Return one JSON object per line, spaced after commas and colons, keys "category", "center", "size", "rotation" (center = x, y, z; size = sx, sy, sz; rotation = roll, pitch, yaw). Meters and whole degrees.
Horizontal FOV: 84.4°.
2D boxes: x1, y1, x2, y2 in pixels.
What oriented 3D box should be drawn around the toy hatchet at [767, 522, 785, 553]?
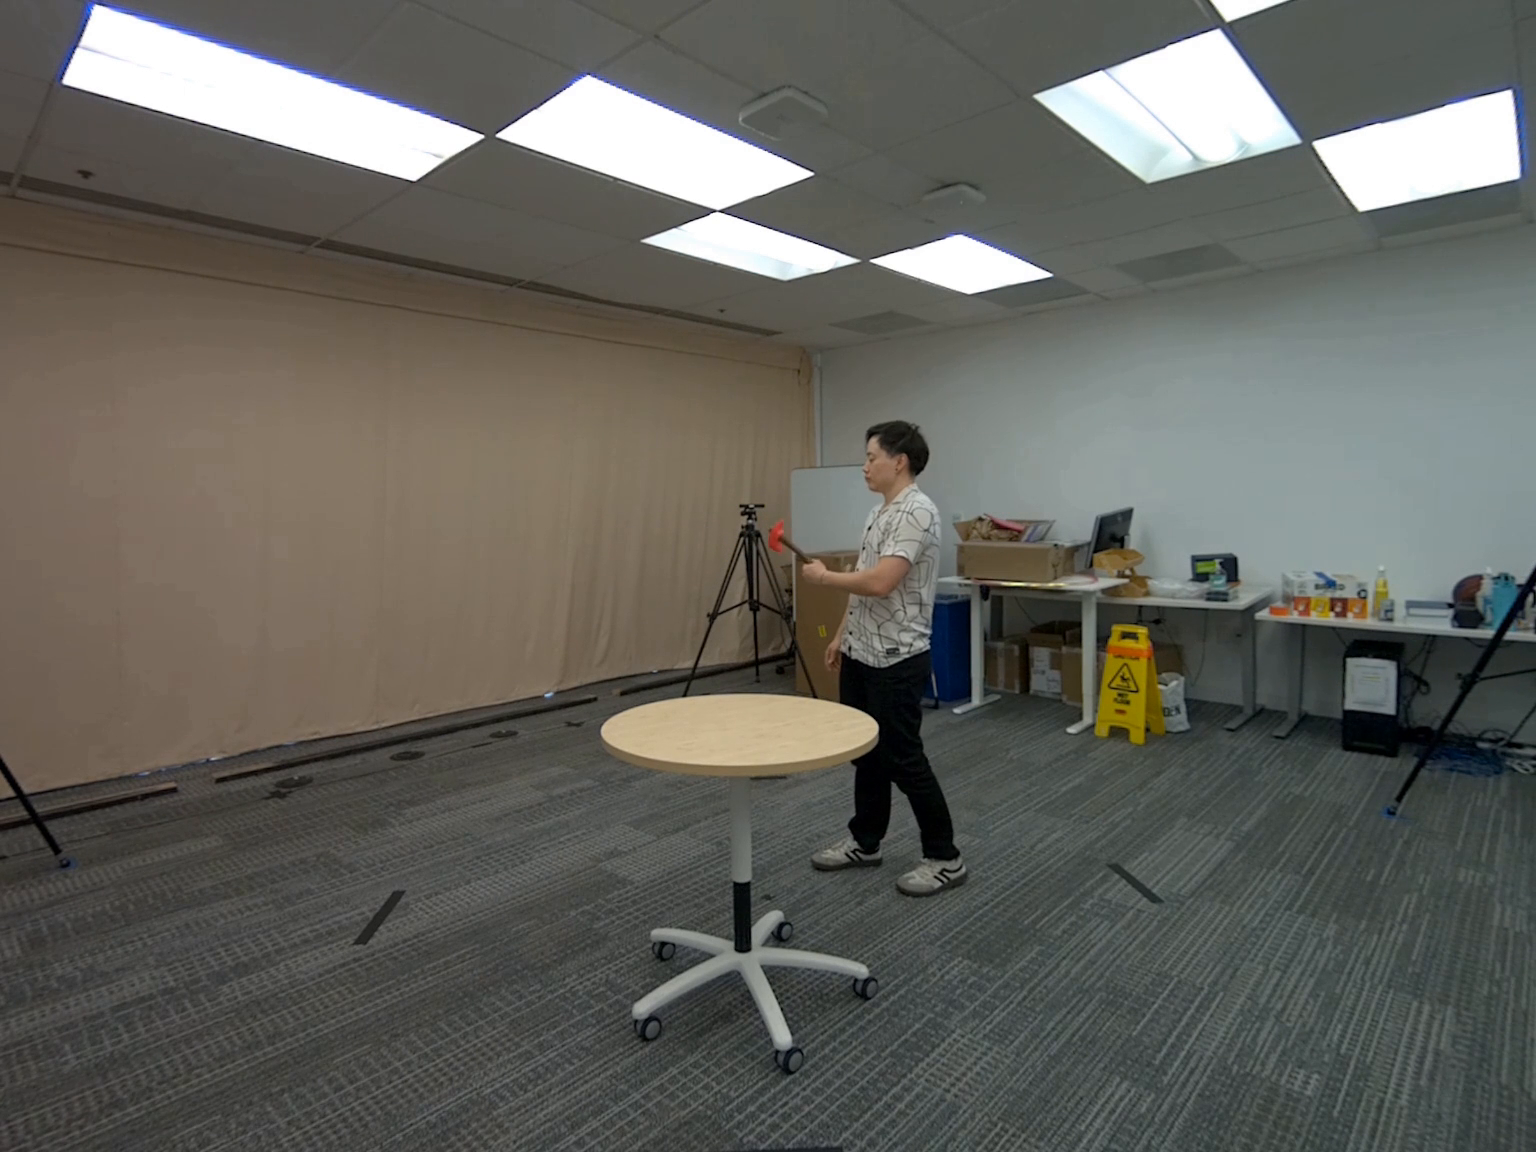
{"category": "toy hatchet", "center": [0.091, -0.067, 3.108], "size": [0.029, 0.273, 0.132], "rotation": [-25, -14, -48]}
